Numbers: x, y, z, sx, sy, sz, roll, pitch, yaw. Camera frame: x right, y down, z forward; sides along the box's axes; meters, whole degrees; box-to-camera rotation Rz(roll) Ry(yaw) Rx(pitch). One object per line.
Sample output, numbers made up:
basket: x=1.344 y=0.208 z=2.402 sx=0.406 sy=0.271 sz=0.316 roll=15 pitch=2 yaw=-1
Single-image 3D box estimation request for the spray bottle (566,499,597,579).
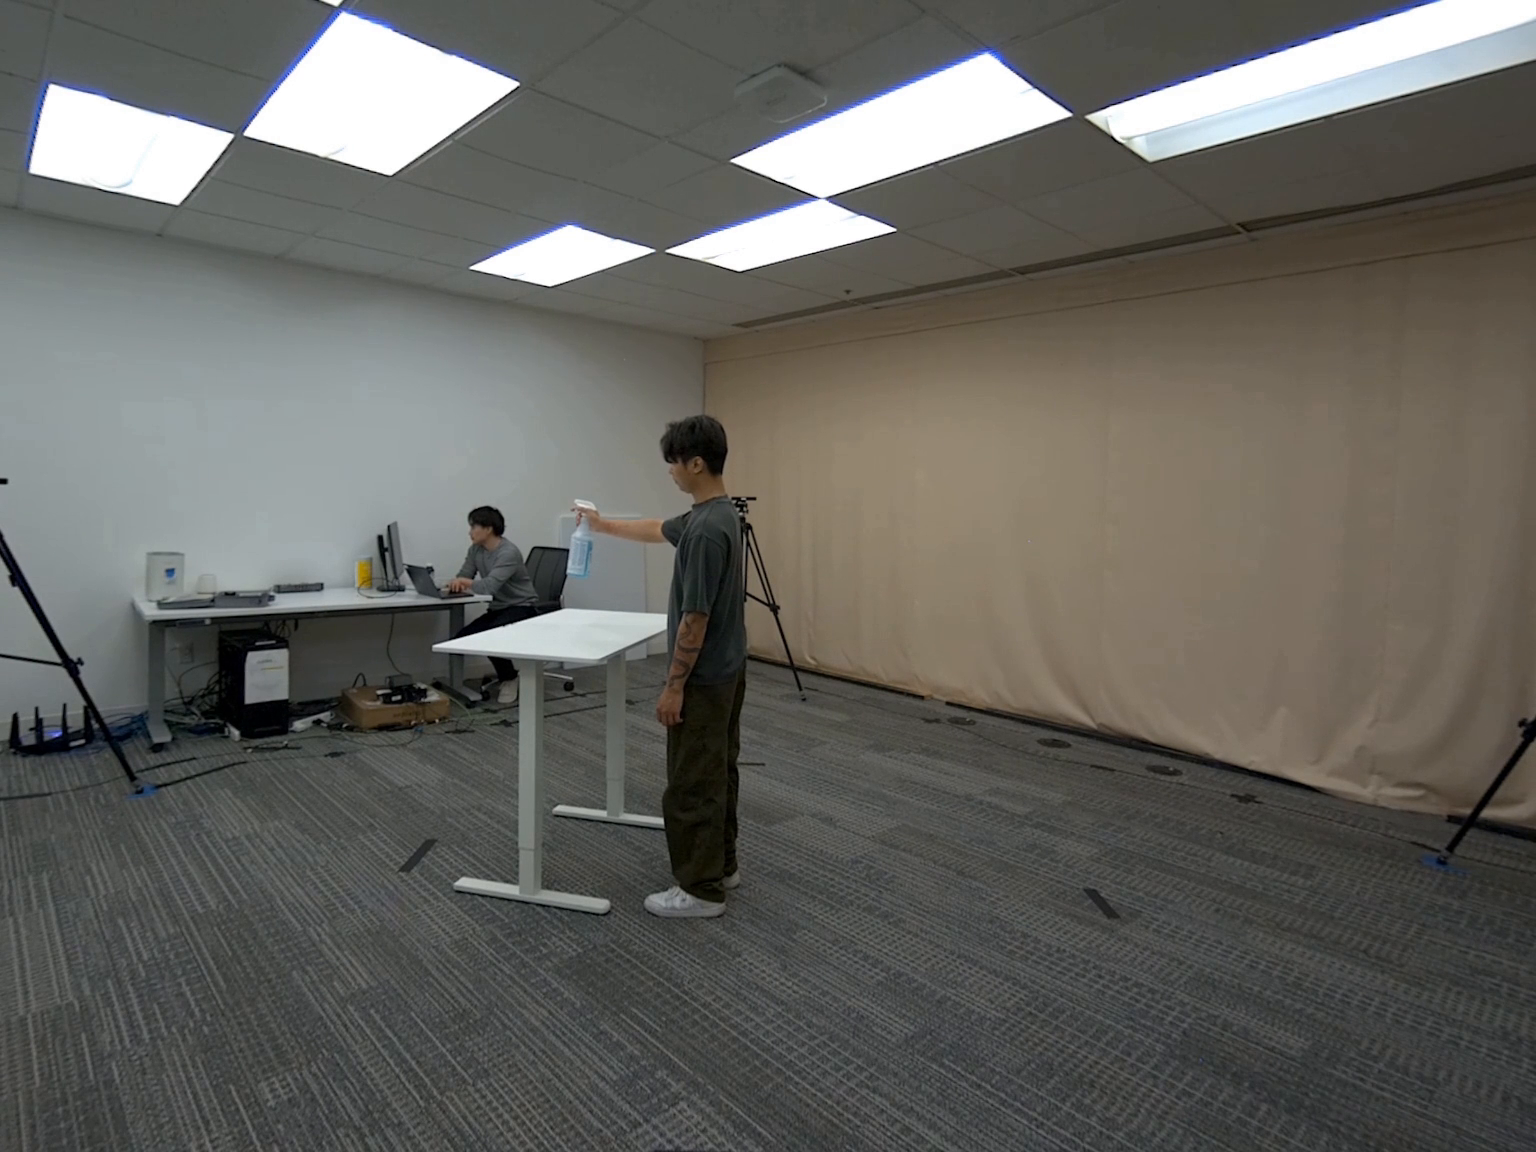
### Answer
spray bottle: x=-0.727 y=-0.139 z=3.272 sx=0.092 sy=0.296 sz=0.085 roll=12 pitch=5 yaw=34
